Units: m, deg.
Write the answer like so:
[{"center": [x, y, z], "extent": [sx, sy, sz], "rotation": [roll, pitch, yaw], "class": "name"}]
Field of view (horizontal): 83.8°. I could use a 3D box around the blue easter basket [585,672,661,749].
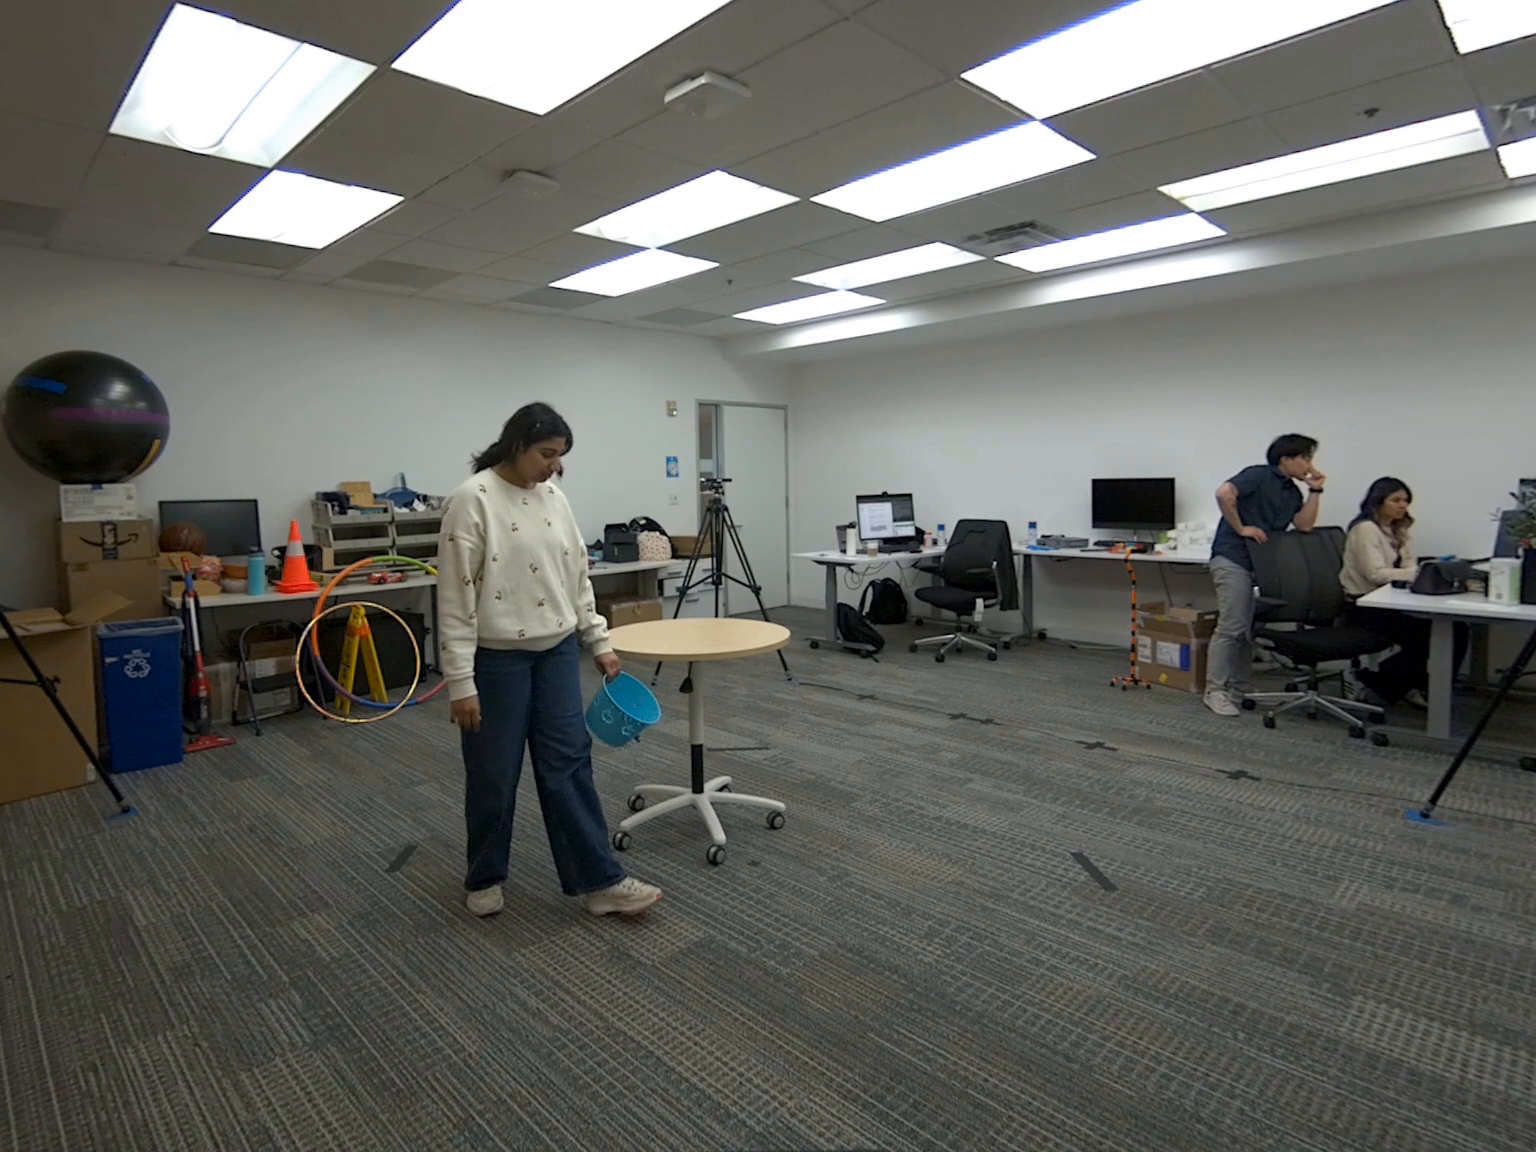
[{"center": [-0.497, 0.456, 2.882], "extent": [0.239, 0.155, 0.248], "rotation": [35, 17, -14], "class": "blue easter basket"}]
